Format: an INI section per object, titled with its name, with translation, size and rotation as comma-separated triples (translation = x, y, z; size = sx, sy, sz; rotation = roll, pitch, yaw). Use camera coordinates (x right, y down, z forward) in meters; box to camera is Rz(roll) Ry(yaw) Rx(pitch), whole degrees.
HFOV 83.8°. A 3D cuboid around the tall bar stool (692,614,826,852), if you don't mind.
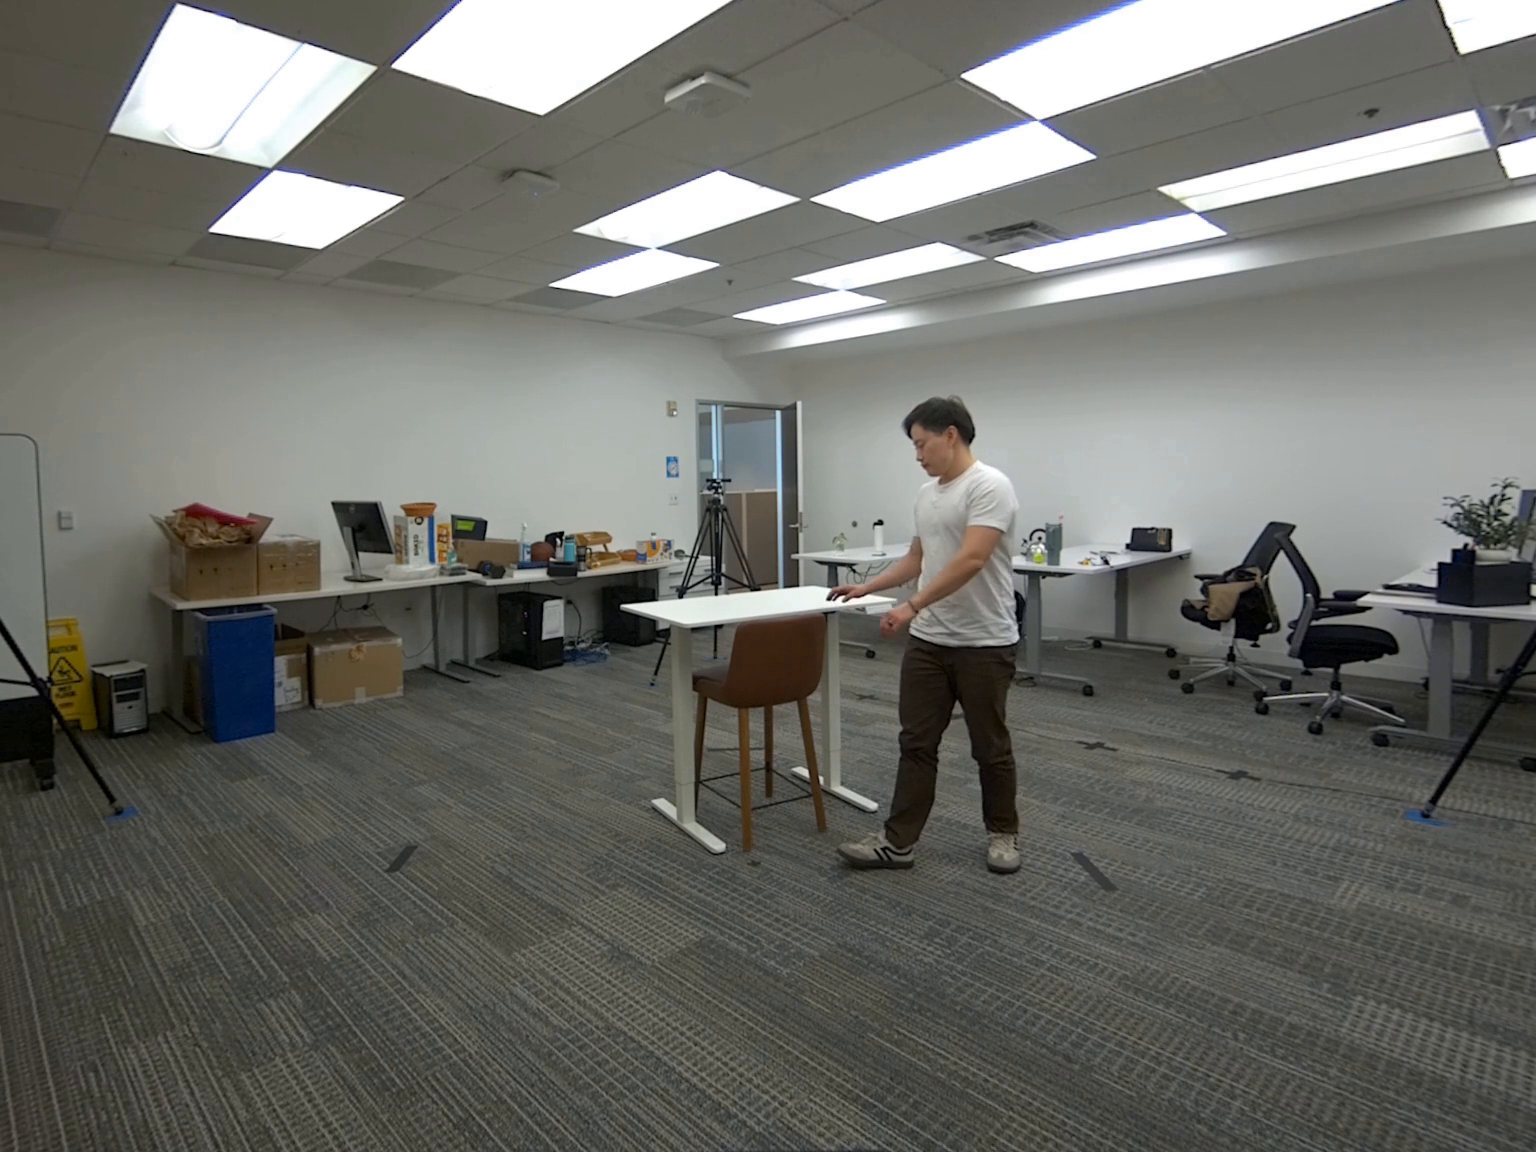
[tall bar stool]
translation = -0.042, 0.575, 3.450
size = 0.446, 0.885, 0.481
rotation = -3, 7, -30
